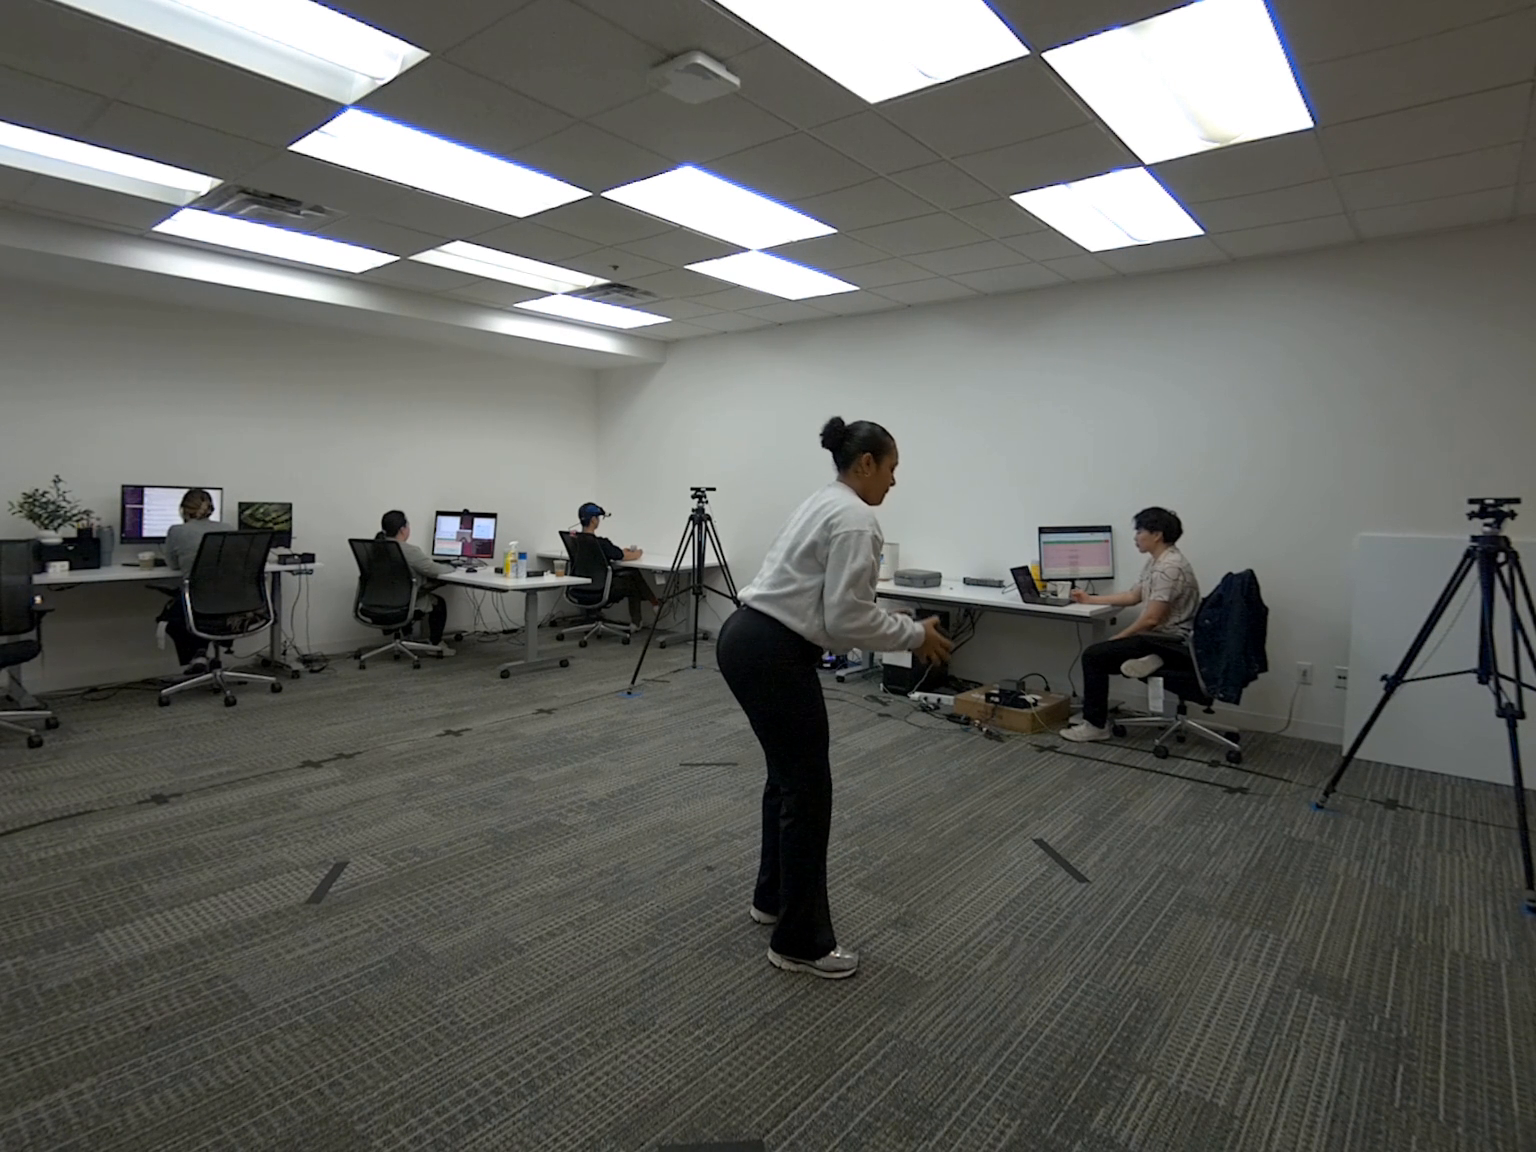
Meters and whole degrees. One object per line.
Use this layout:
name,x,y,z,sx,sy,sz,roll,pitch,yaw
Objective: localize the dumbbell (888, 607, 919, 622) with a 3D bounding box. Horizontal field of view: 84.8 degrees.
dumbbell,0.442,0.185,2.633,0.123,0.108,0.294,-18,2,-3
